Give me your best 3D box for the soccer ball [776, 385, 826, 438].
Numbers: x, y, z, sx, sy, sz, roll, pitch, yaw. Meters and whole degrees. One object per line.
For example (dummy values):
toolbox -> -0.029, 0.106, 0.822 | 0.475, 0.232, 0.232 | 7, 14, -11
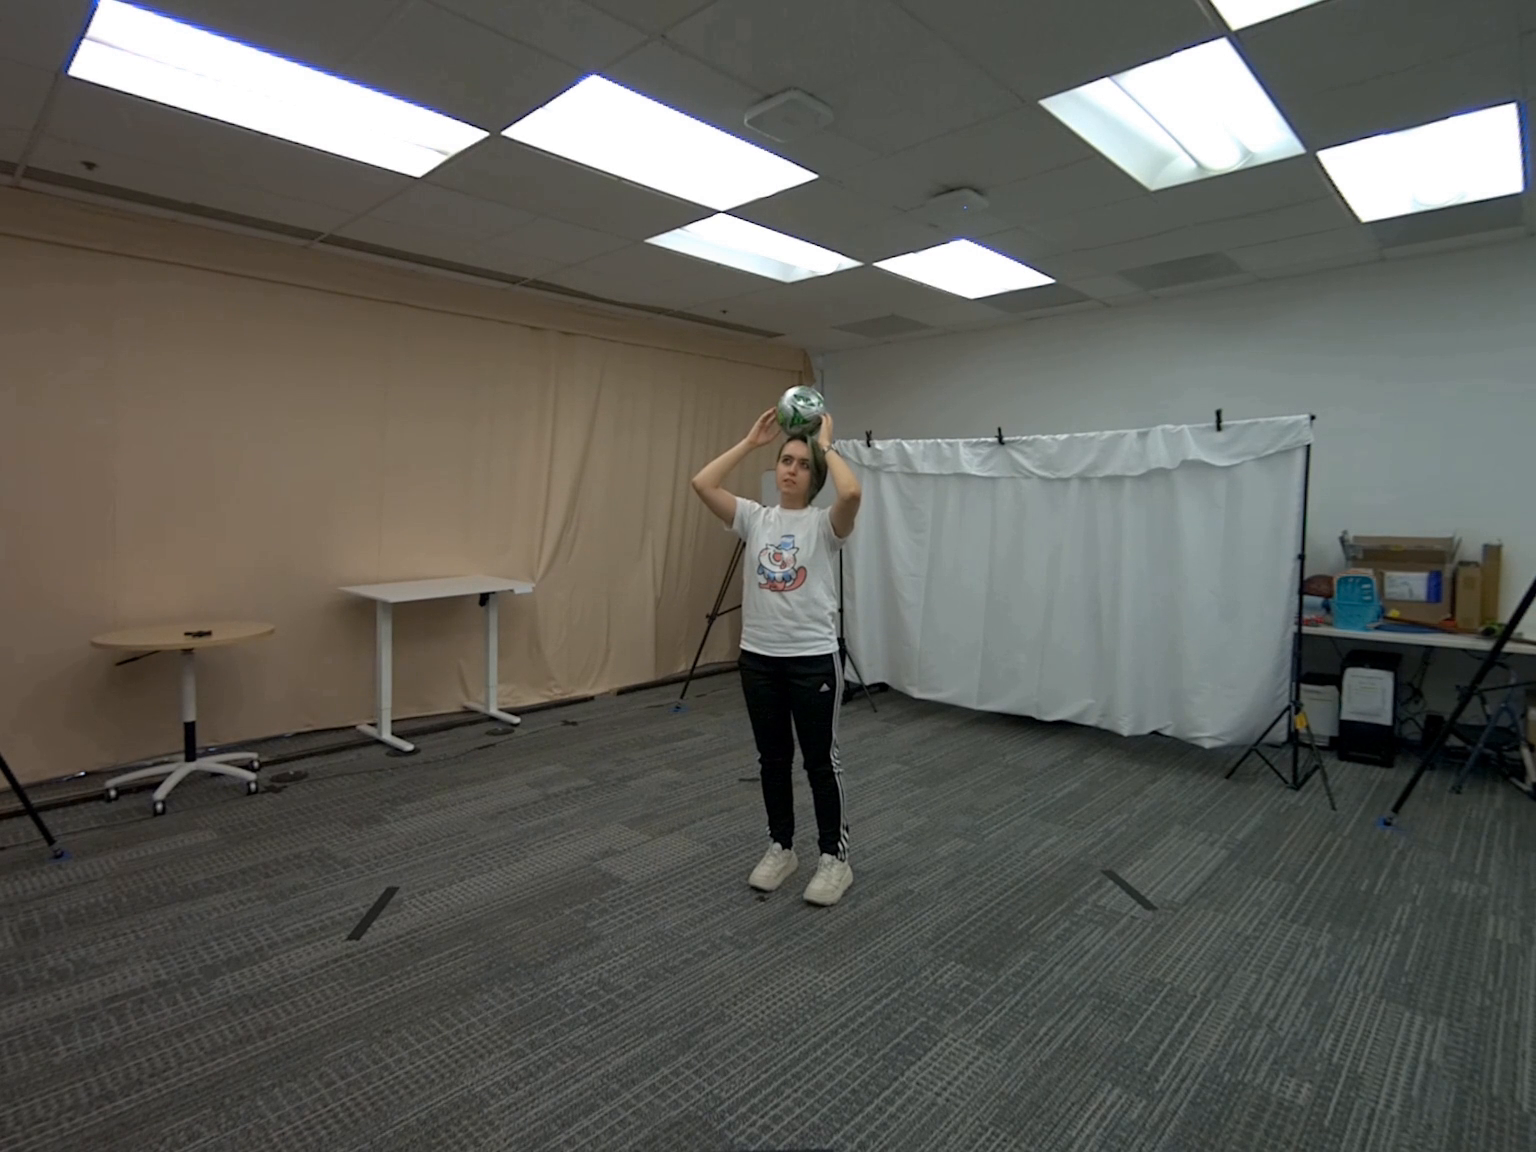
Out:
soccer ball -> 0.125, -0.586, 3.023 | 0.187, 0.187, 0.188 | 0, 4, -2
